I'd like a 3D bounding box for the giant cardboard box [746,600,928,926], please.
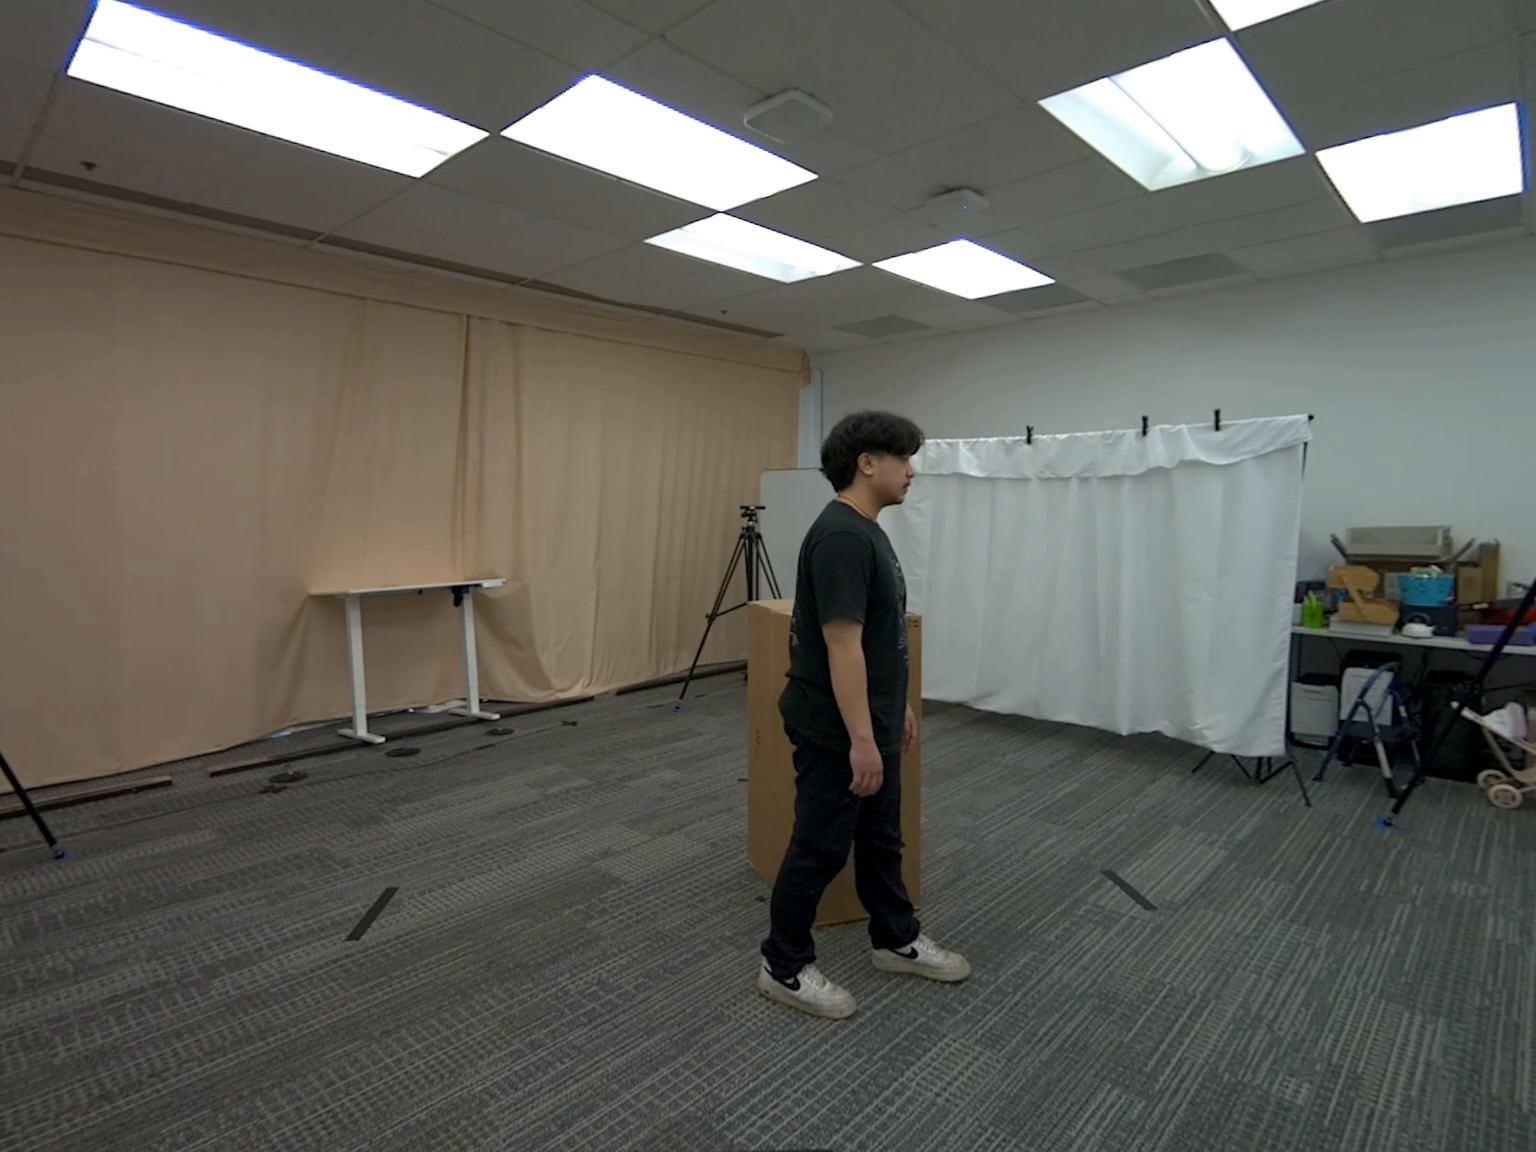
[{"bbox_3d":[0.228,0.625,3.083,0.438,1.025,0.597,0,3,-21],"label":"giant cardboard box"}]
